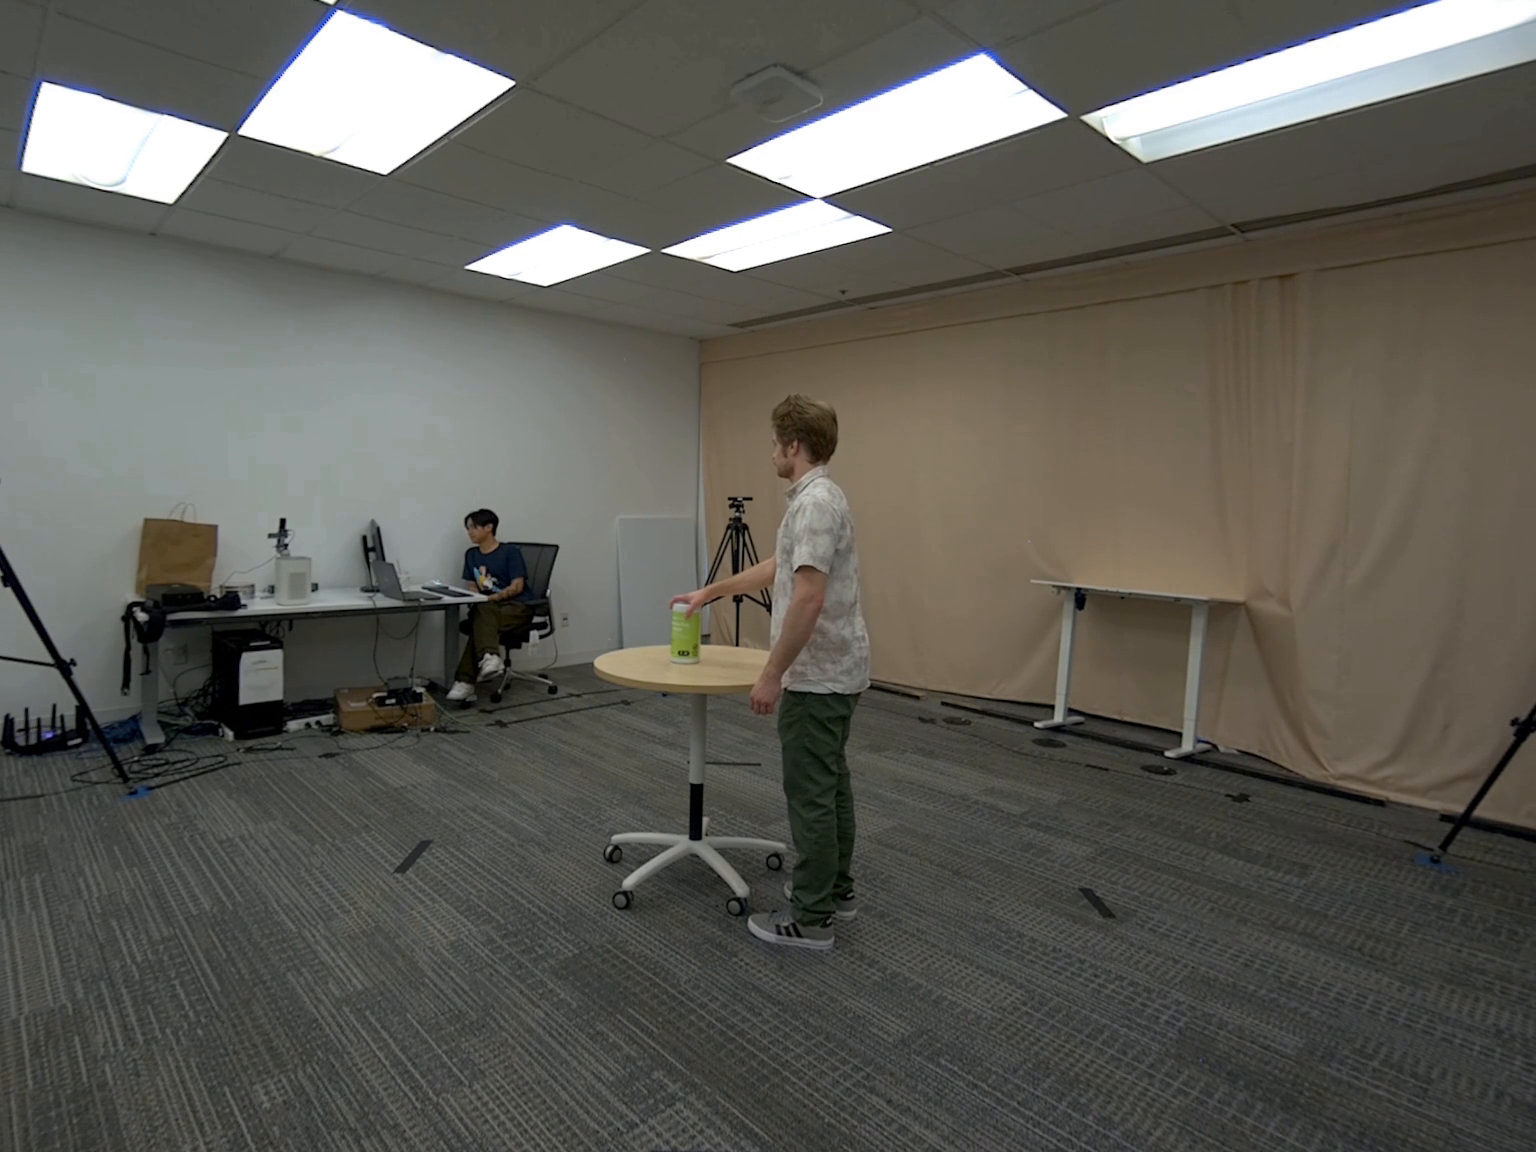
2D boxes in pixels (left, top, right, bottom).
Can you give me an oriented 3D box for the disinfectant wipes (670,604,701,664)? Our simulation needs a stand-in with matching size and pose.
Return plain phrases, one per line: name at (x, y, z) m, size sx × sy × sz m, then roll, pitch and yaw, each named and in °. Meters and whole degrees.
disinfectant wipes at (-0.305, 0.208, 3.073) m, size 0.118 × 0.217 × 0.118 m, roll 1°, pitch 2°, yaw -1°
